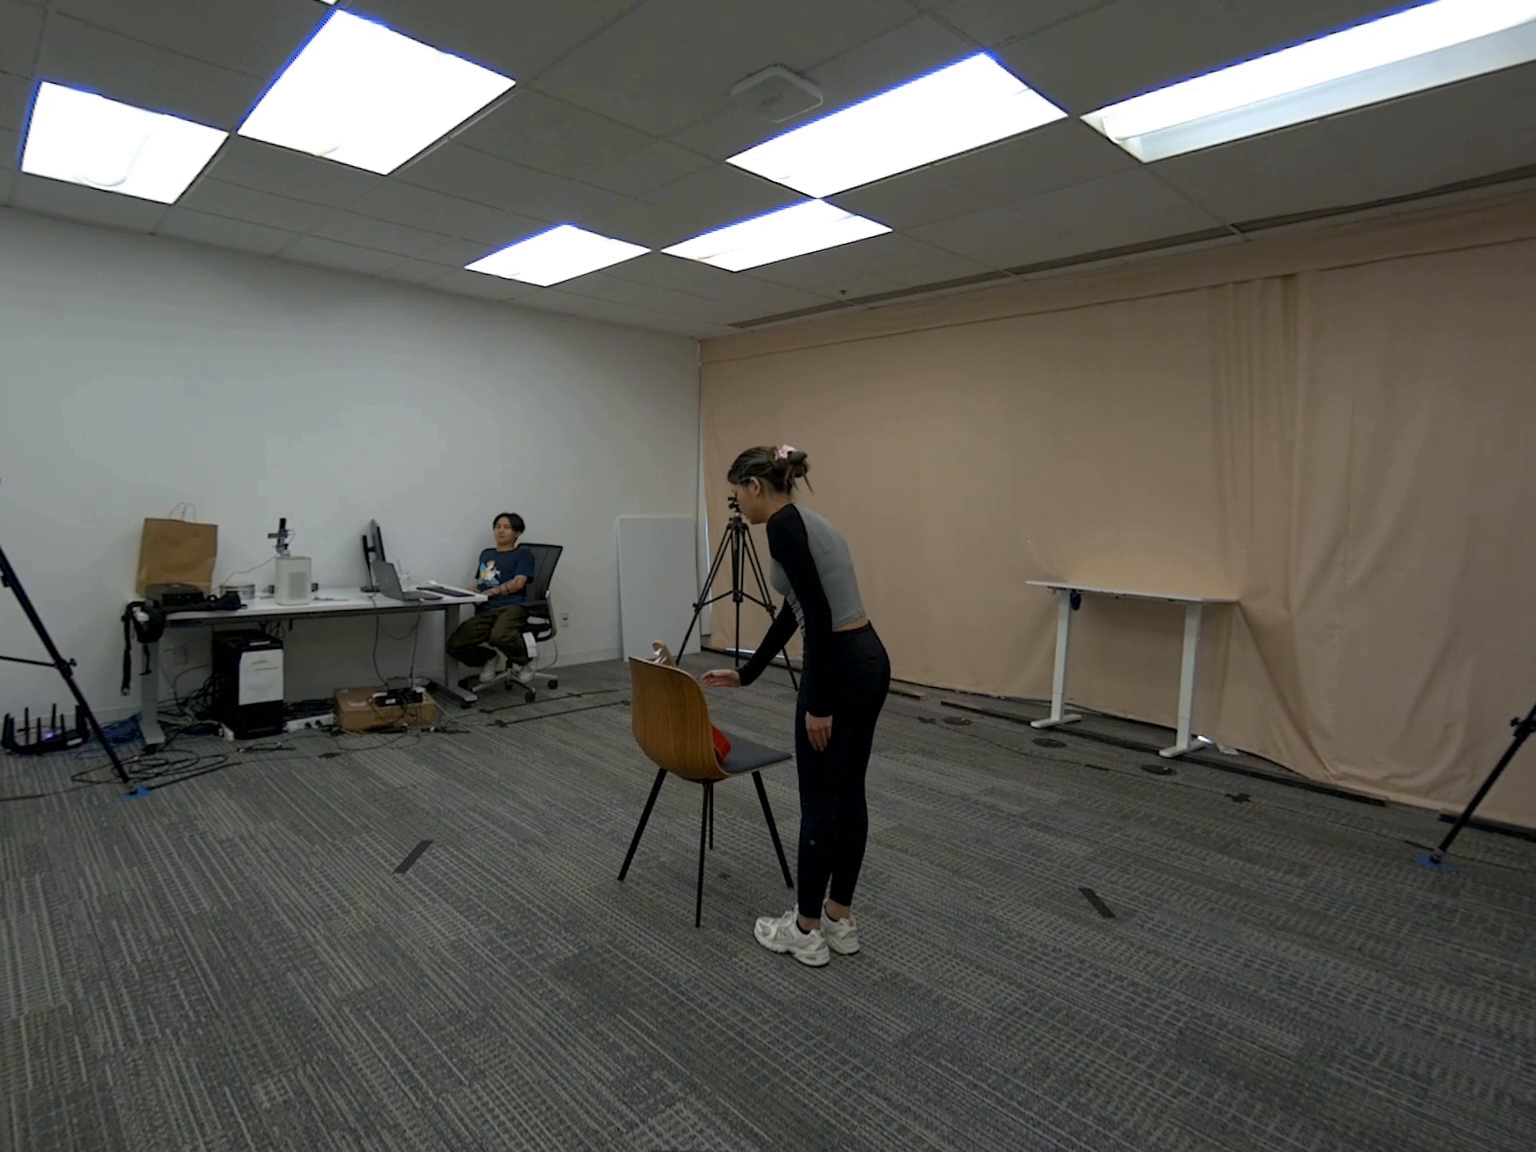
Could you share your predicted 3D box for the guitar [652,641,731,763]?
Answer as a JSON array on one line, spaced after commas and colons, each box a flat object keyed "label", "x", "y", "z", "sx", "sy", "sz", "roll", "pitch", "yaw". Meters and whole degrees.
[{"label": "guitar", "x": -0.308, "y": 0.433, "z": 2.869, "sx": 0.197, "sy": 0.489, "sz": 0.070, "roll": -9, "pitch": 27, "yaw": 47}]
